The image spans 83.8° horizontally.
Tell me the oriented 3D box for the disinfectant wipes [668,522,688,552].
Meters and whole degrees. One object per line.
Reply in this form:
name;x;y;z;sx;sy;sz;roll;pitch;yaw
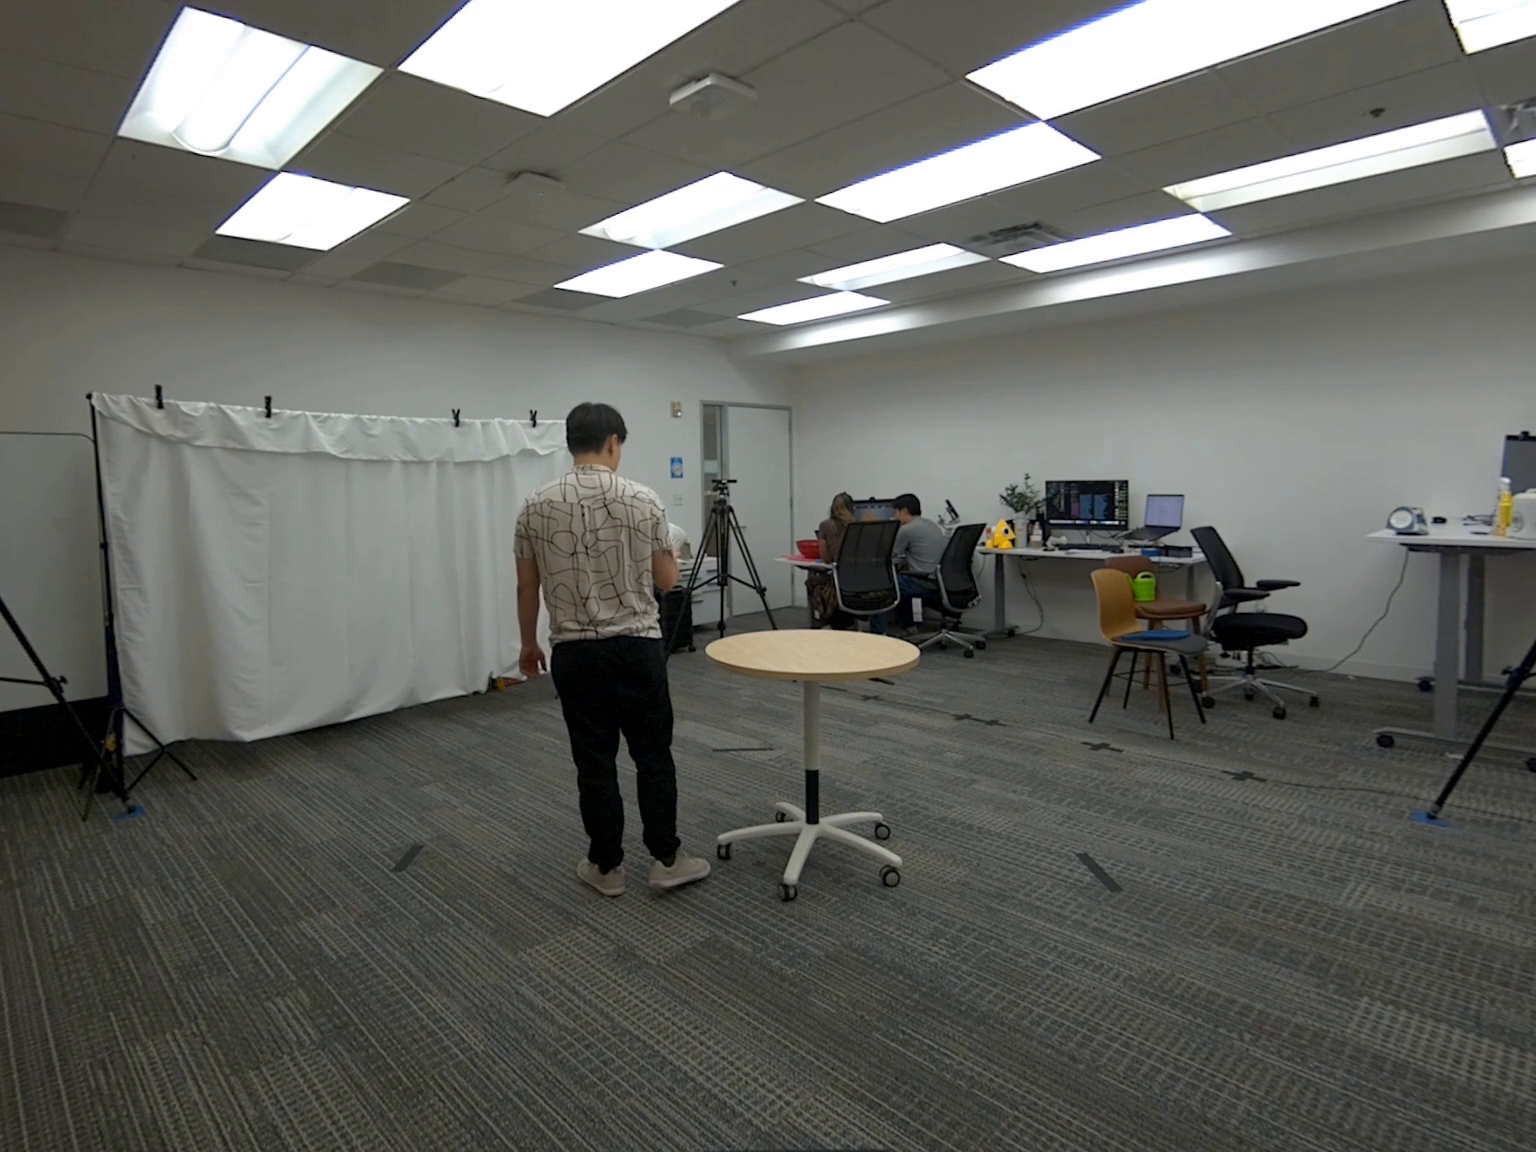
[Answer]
disinfectant wipes;-0.399;-0.093;3.233;0.119;0.219;0.115;25;-24;10
